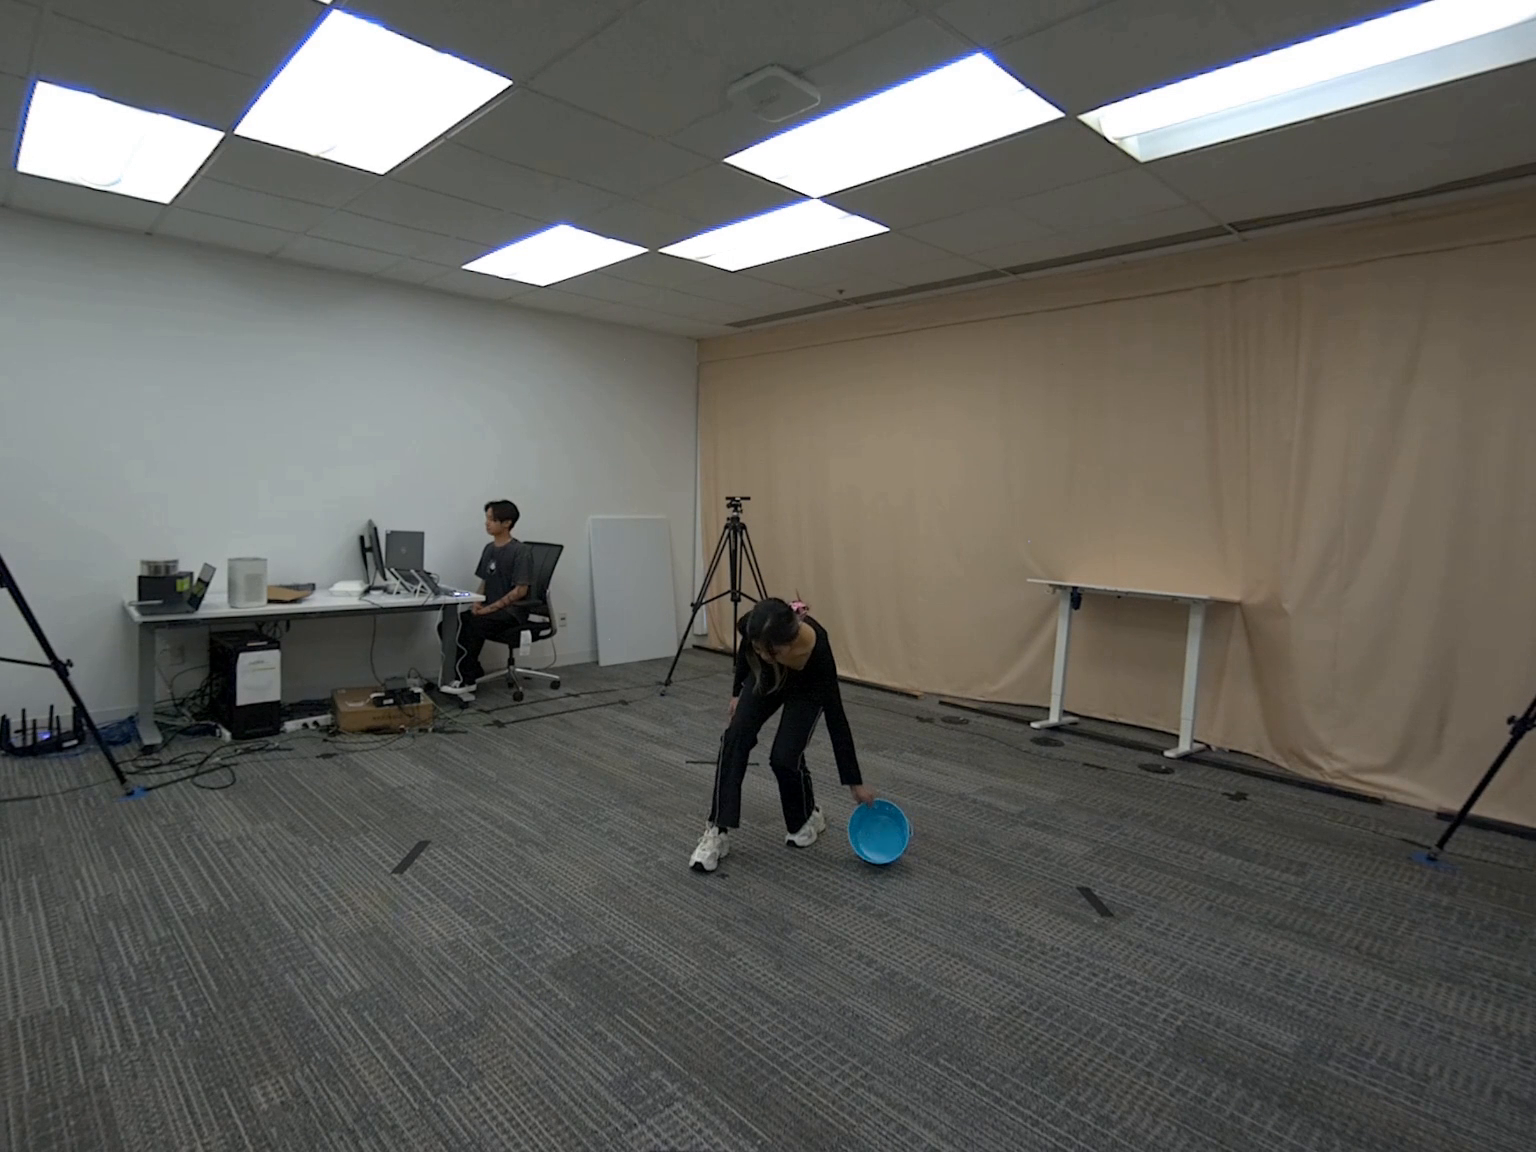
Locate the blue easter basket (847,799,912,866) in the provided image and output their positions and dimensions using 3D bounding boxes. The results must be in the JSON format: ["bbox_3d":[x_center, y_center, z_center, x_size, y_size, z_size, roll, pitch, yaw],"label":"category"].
[{"bbox_3d":[0.421,0.990,3.225,0.247,0.247,0.152,2,-26,17],"label":"blue easter basket"}]
